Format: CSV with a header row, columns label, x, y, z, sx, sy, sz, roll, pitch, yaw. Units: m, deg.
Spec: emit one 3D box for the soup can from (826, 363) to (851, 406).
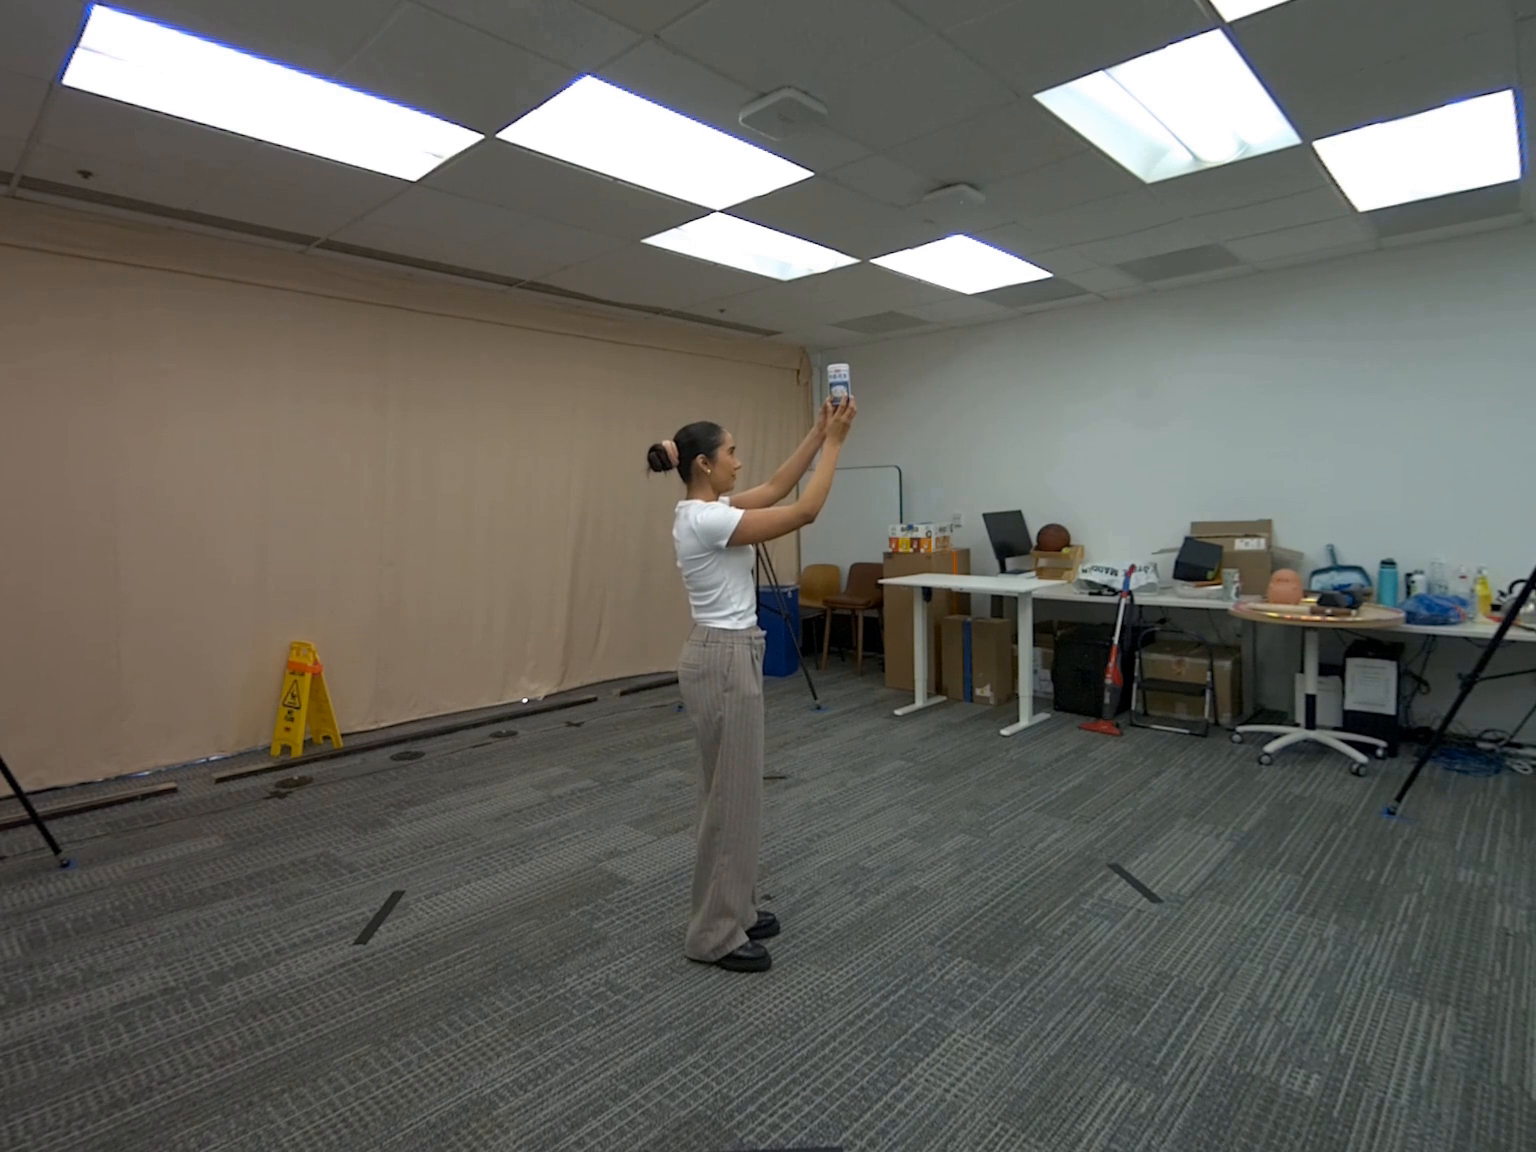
label,x,y,z,sx,sy,sz,roll,pitch,yaw
soup can,0.224,-0.587,2.571,0.067,0.121,0.067,-3,3,-2
